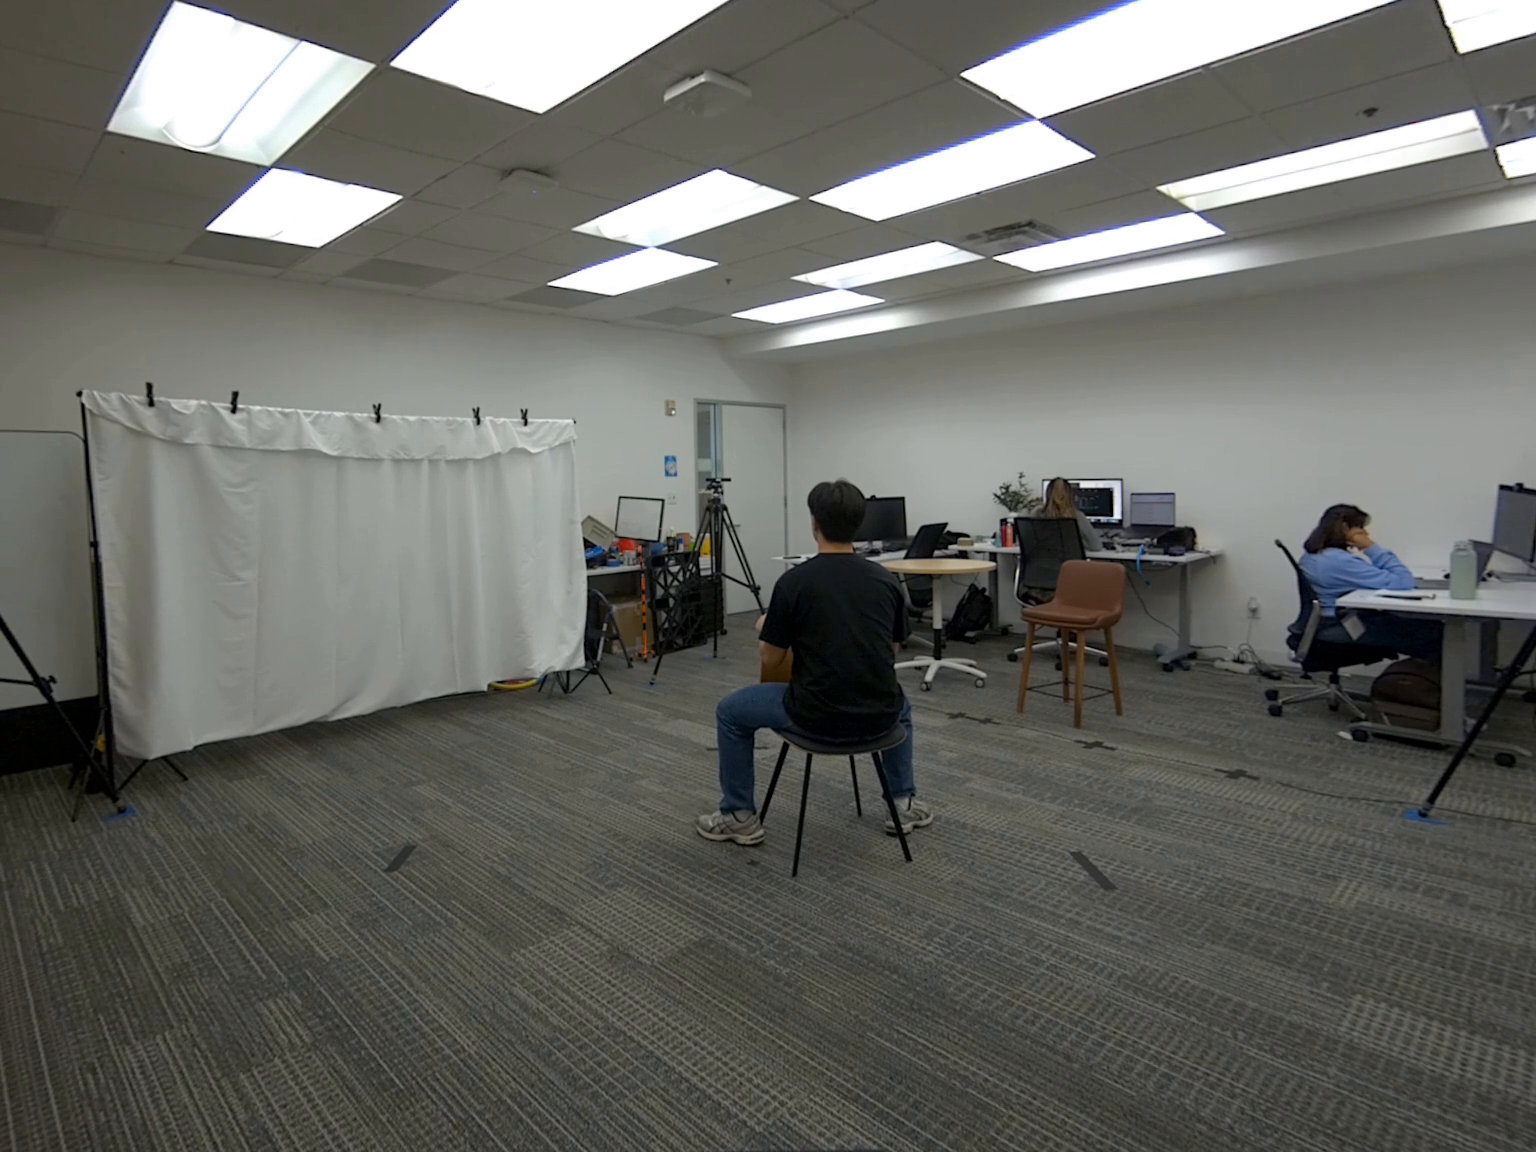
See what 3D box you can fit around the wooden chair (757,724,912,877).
[{"bbox_3d":[0.235,0.601,3.217,0.471,0.877,0.531,-1,1,-16],"label":"wooden chair"}]
